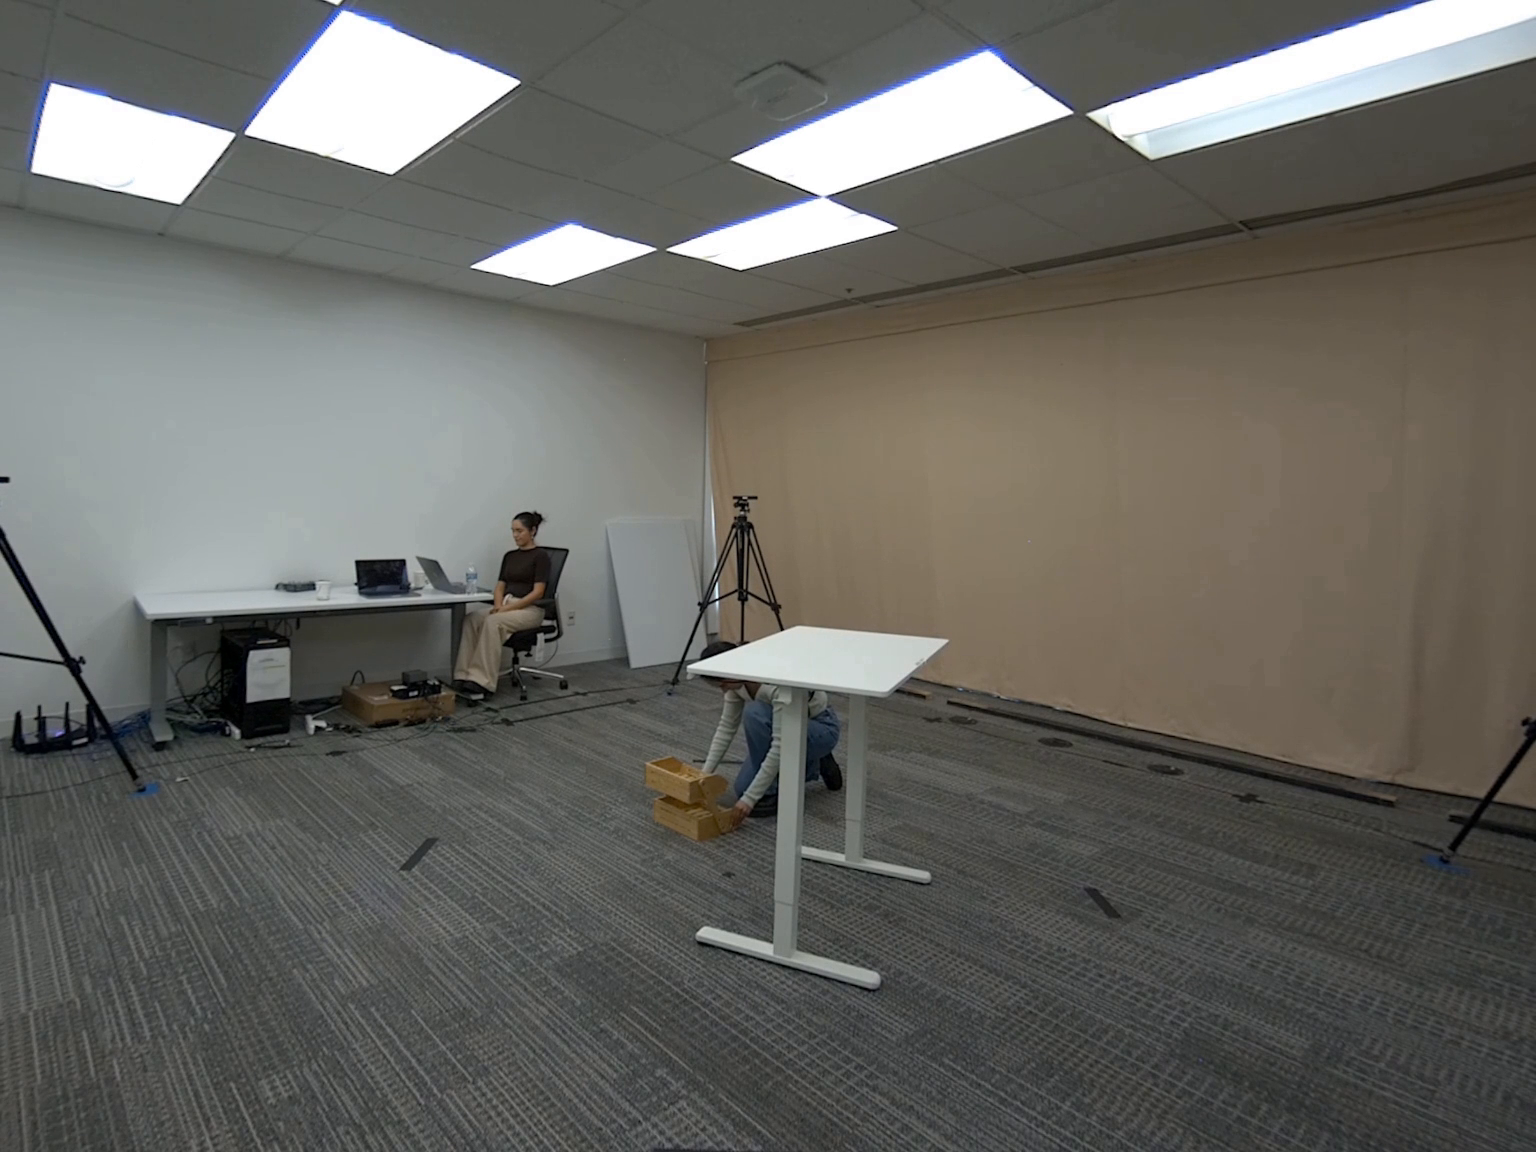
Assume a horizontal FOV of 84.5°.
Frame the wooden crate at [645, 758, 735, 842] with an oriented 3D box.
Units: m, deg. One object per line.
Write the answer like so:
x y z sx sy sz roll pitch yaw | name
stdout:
-0.324 0.923 3.565 0.295 0.272 0.333 -4 7 -44 | wooden crate
